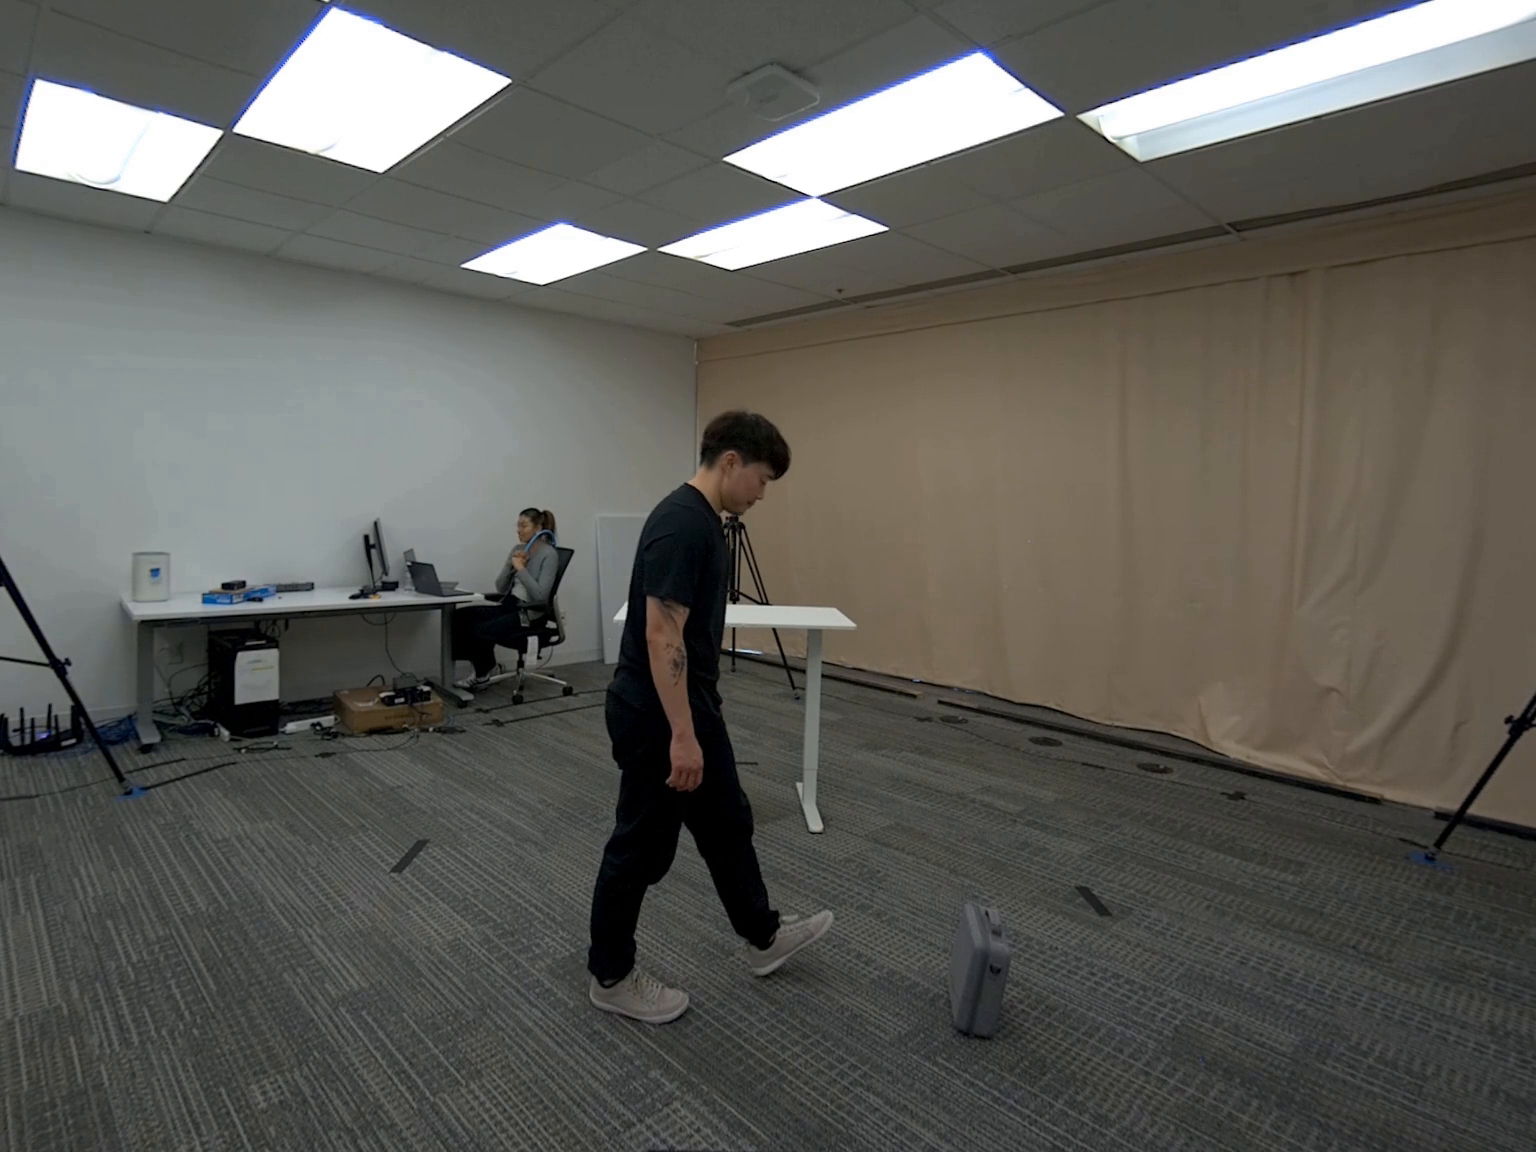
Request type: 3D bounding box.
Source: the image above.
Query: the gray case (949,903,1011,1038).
[{"bbox_3d":[0.570,1.065,2.292,0.105,0.260,0.256,10,6,6],"label":"gray case"}]
